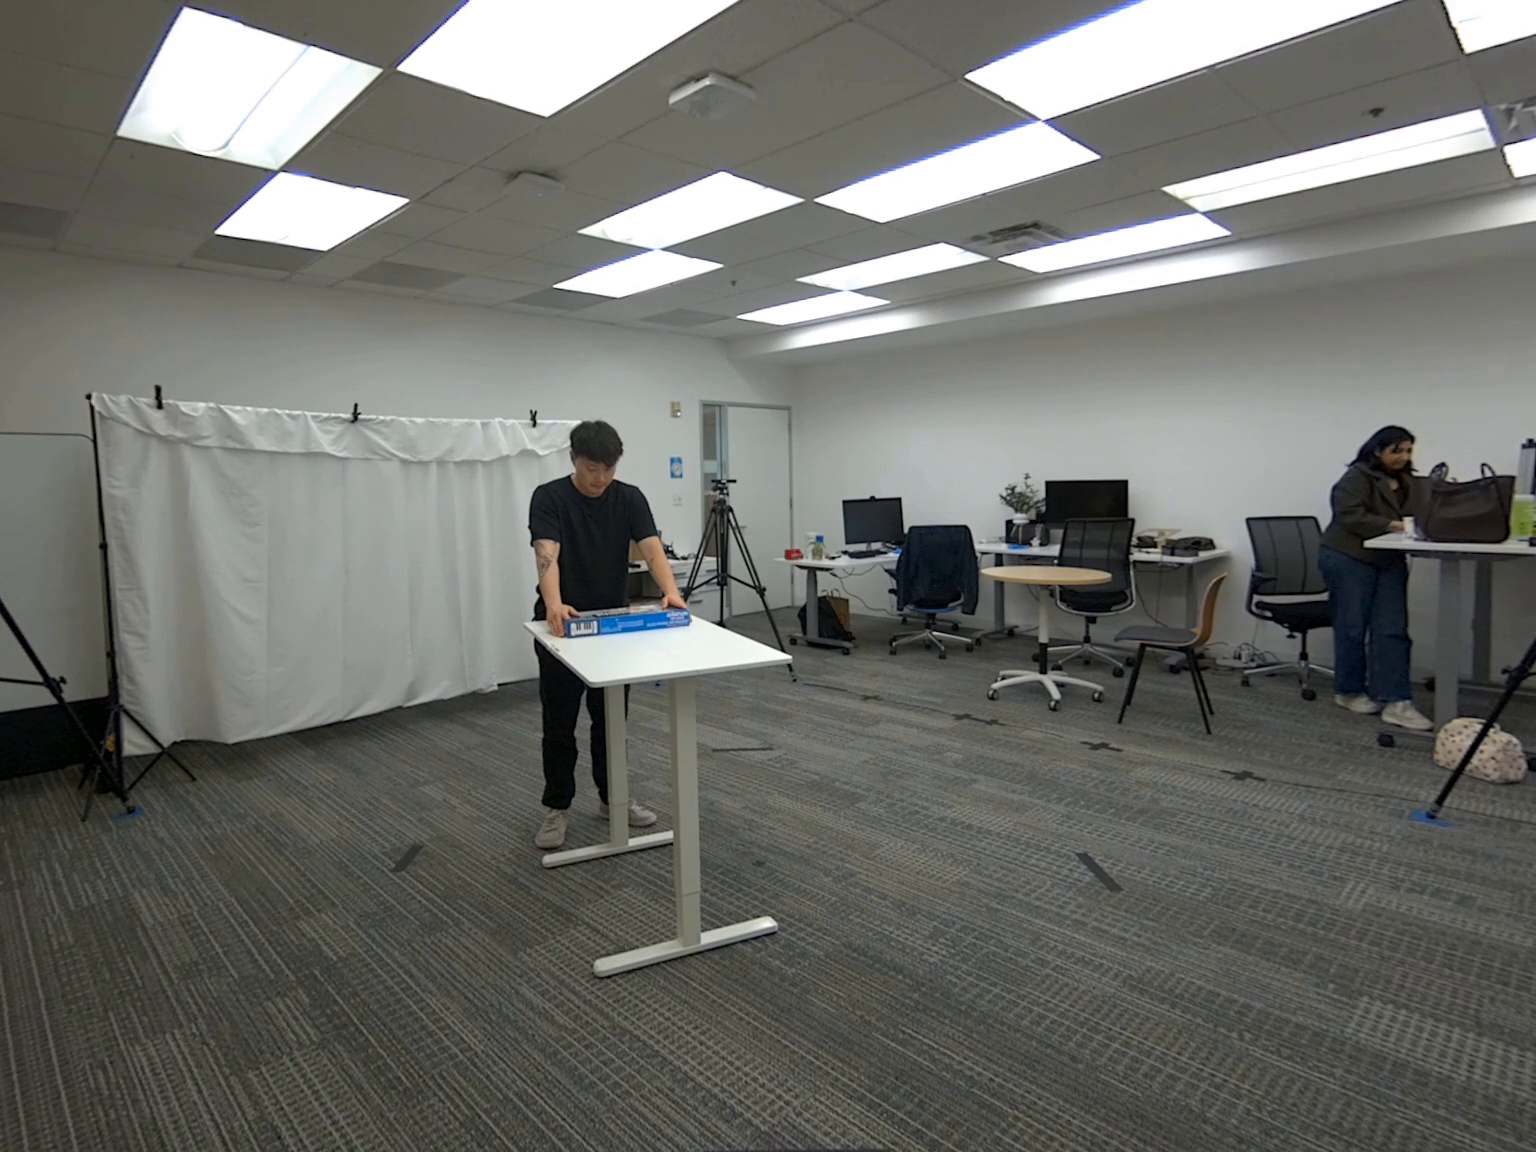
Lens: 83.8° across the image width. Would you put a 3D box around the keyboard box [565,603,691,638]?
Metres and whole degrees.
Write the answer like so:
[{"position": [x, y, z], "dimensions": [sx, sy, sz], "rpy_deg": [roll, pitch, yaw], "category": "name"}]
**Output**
[{"position": [-0.523, 0.155, 3.014], "dimensions": [0.429, 0.059, 0.180], "rpy_deg": [-3, 8, -20], "category": "keyboard box"}]
